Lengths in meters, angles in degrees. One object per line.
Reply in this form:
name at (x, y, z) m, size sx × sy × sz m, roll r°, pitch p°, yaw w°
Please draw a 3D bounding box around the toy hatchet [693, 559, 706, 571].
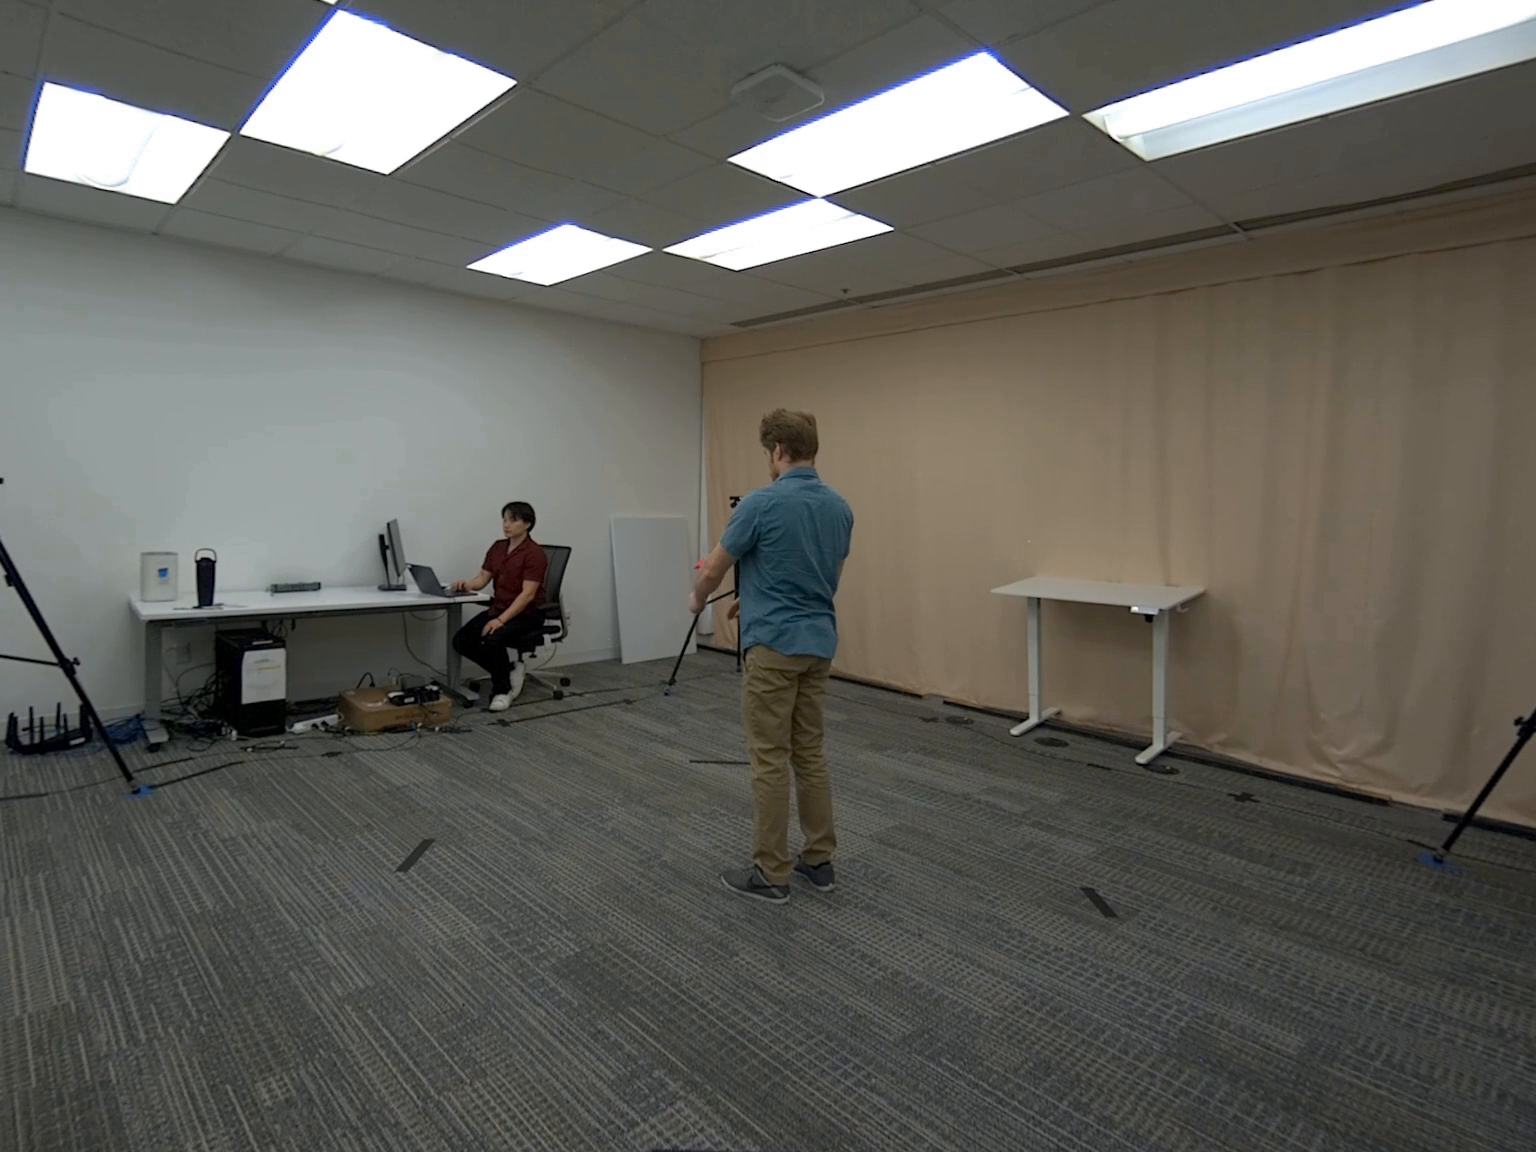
toy hatchet at (-0.249, 0.035, 3.334) m, size 0.132 × 0.029 × 0.275 m, roll -23°, pitch 35°, yaw 20°
